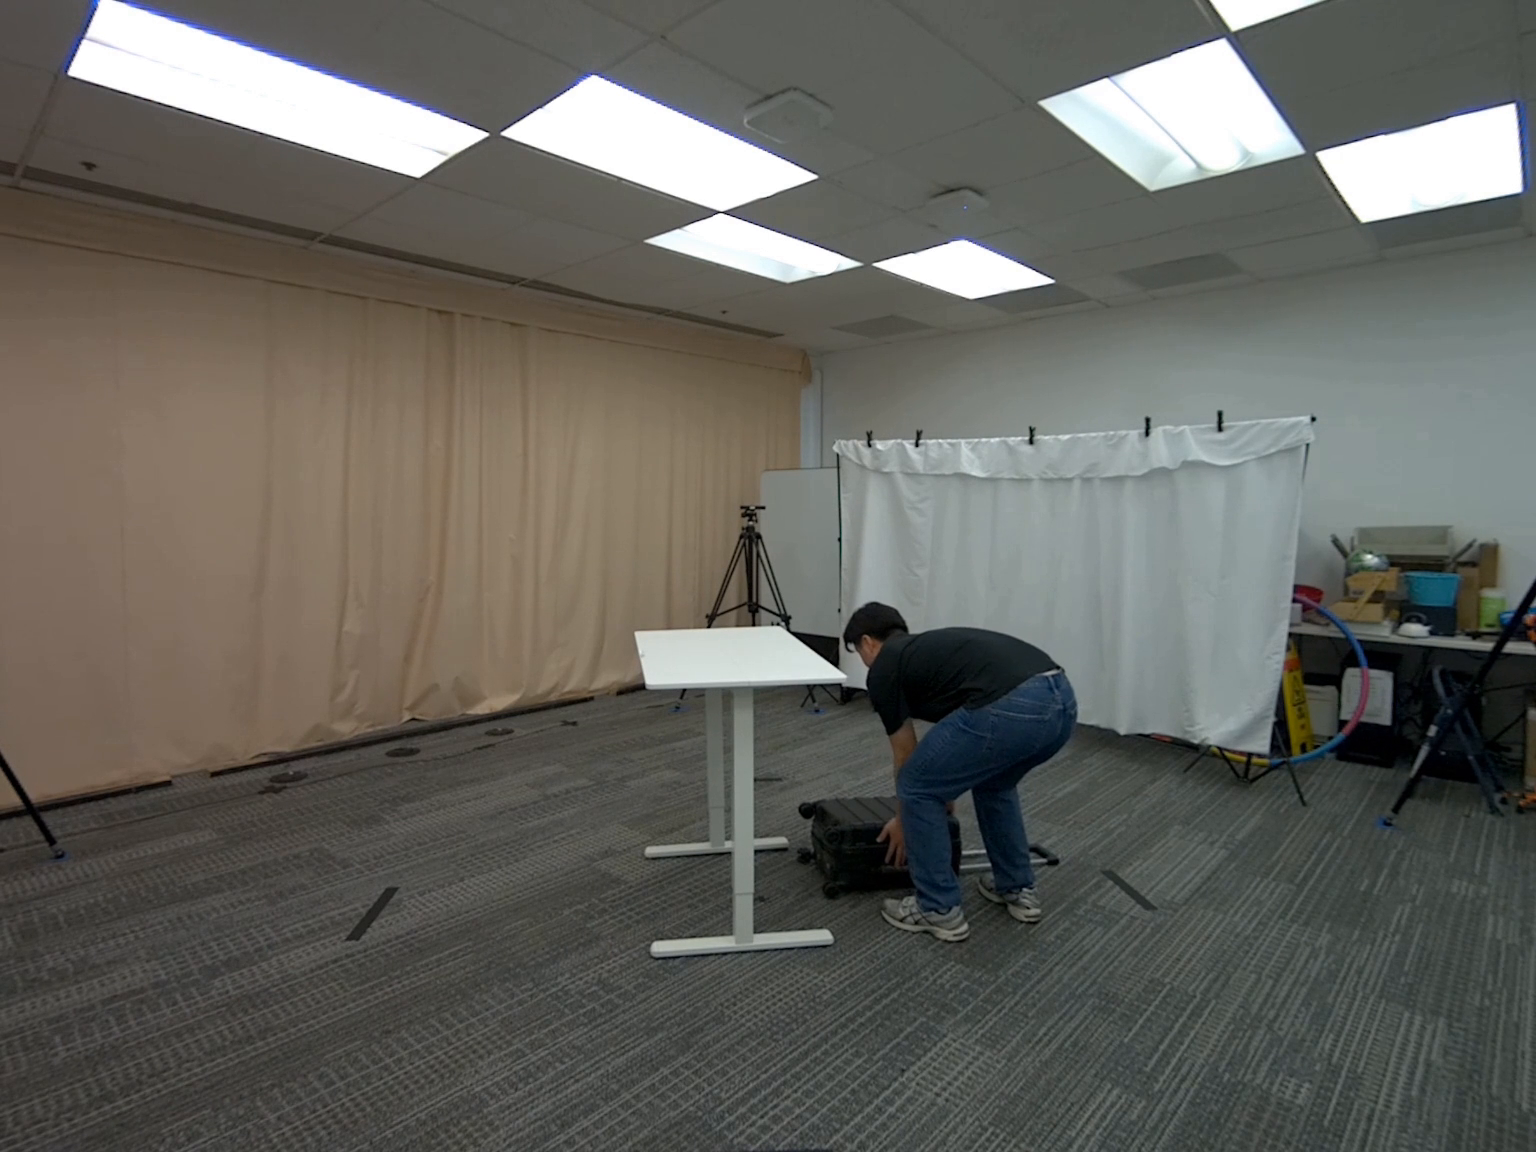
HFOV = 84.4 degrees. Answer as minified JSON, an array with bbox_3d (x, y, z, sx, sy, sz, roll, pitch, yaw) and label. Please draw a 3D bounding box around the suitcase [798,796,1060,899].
[{"bbox_3d":[0.626,0.998,3.225,0.966,0.257,0.389,-1,2,-12],"label":"suitcase"}]
